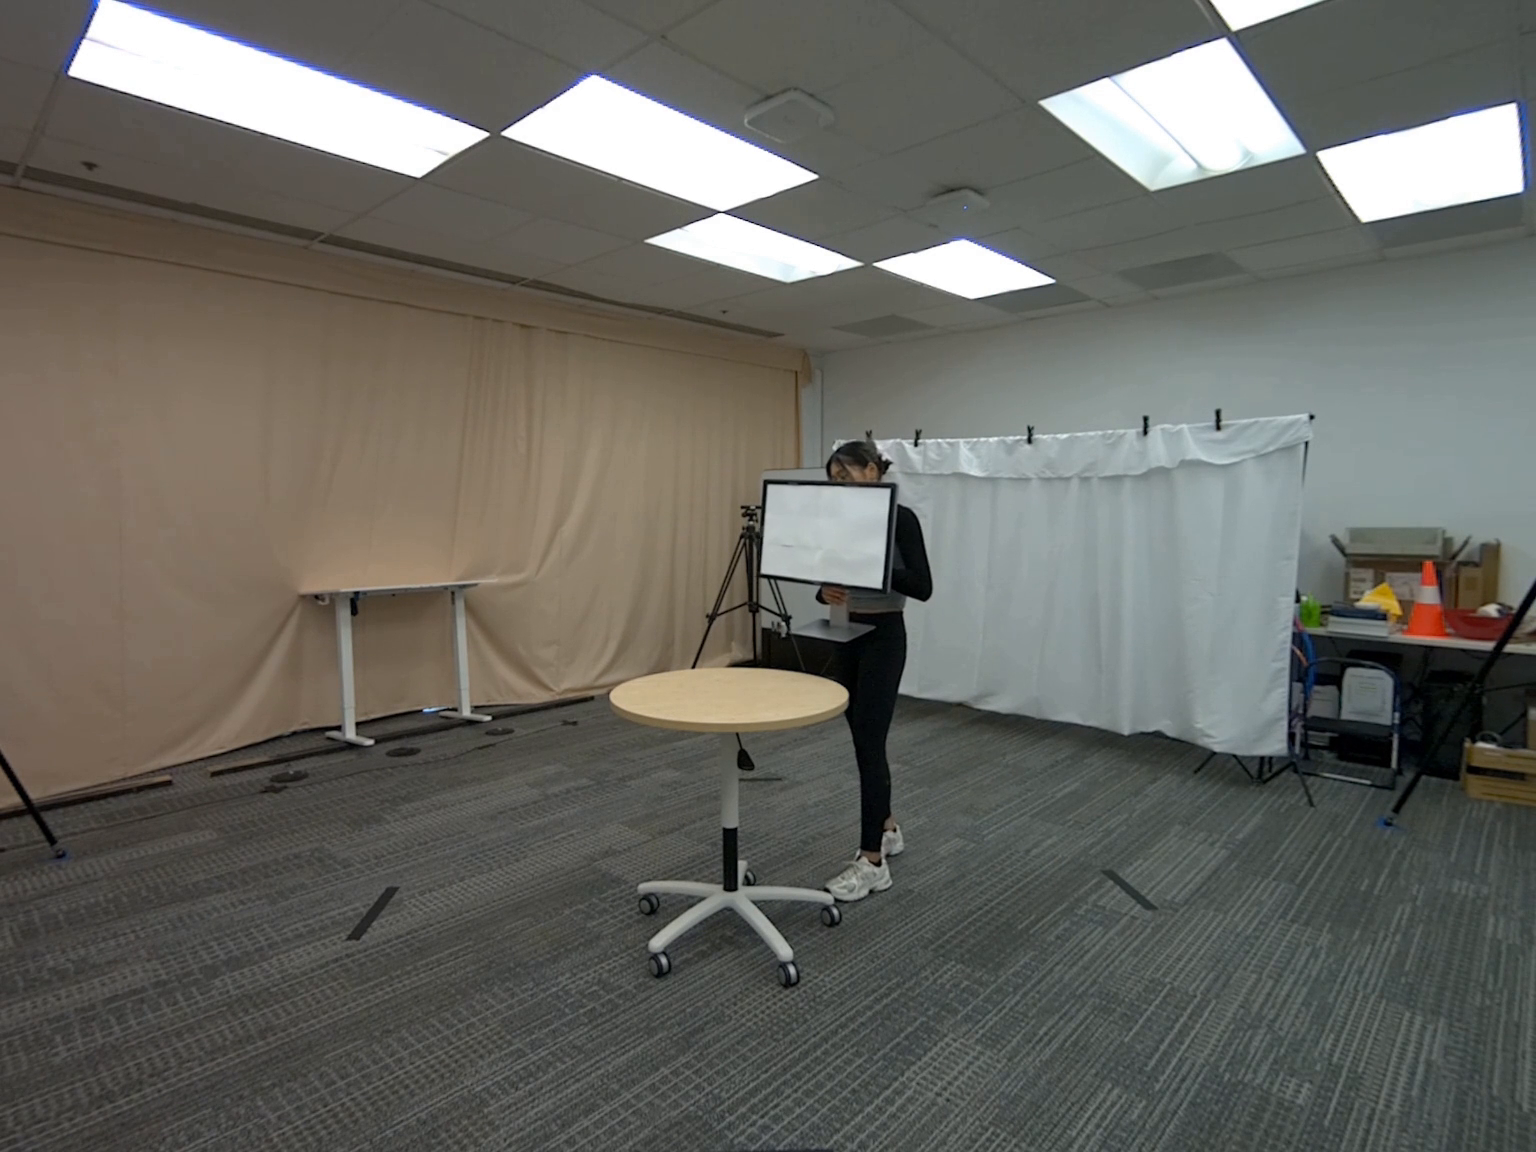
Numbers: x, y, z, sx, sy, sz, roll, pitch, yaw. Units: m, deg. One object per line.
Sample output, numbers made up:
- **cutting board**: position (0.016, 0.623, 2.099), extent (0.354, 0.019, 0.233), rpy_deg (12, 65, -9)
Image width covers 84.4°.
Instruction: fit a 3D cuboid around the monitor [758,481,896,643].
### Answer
- **monitor**: position (0.221, -0.065, 2.957), extent (0.557, 0.519, 0.182), rpy_deg (6, 13, 41)
